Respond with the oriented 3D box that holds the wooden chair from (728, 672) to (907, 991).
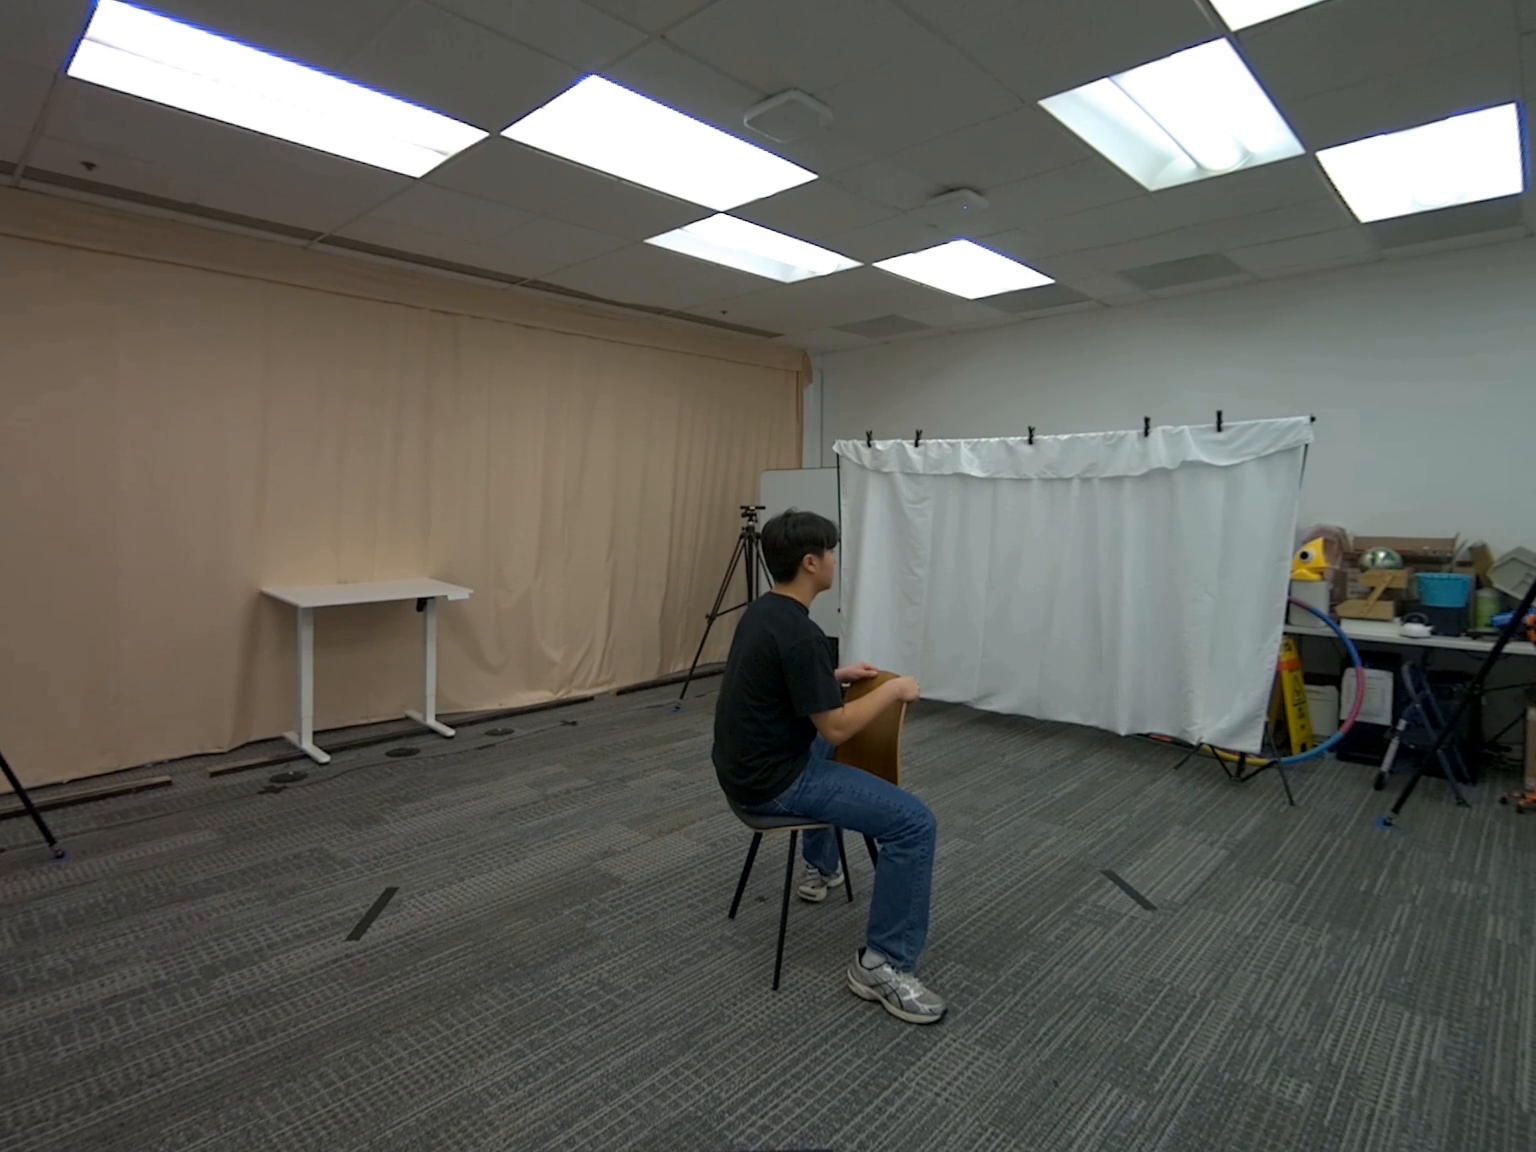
[{"bbox_3d":[0.150,0.744,2.665,0.513,0.876,0.488,2,3,-18],"label":"wooden chair"}]
